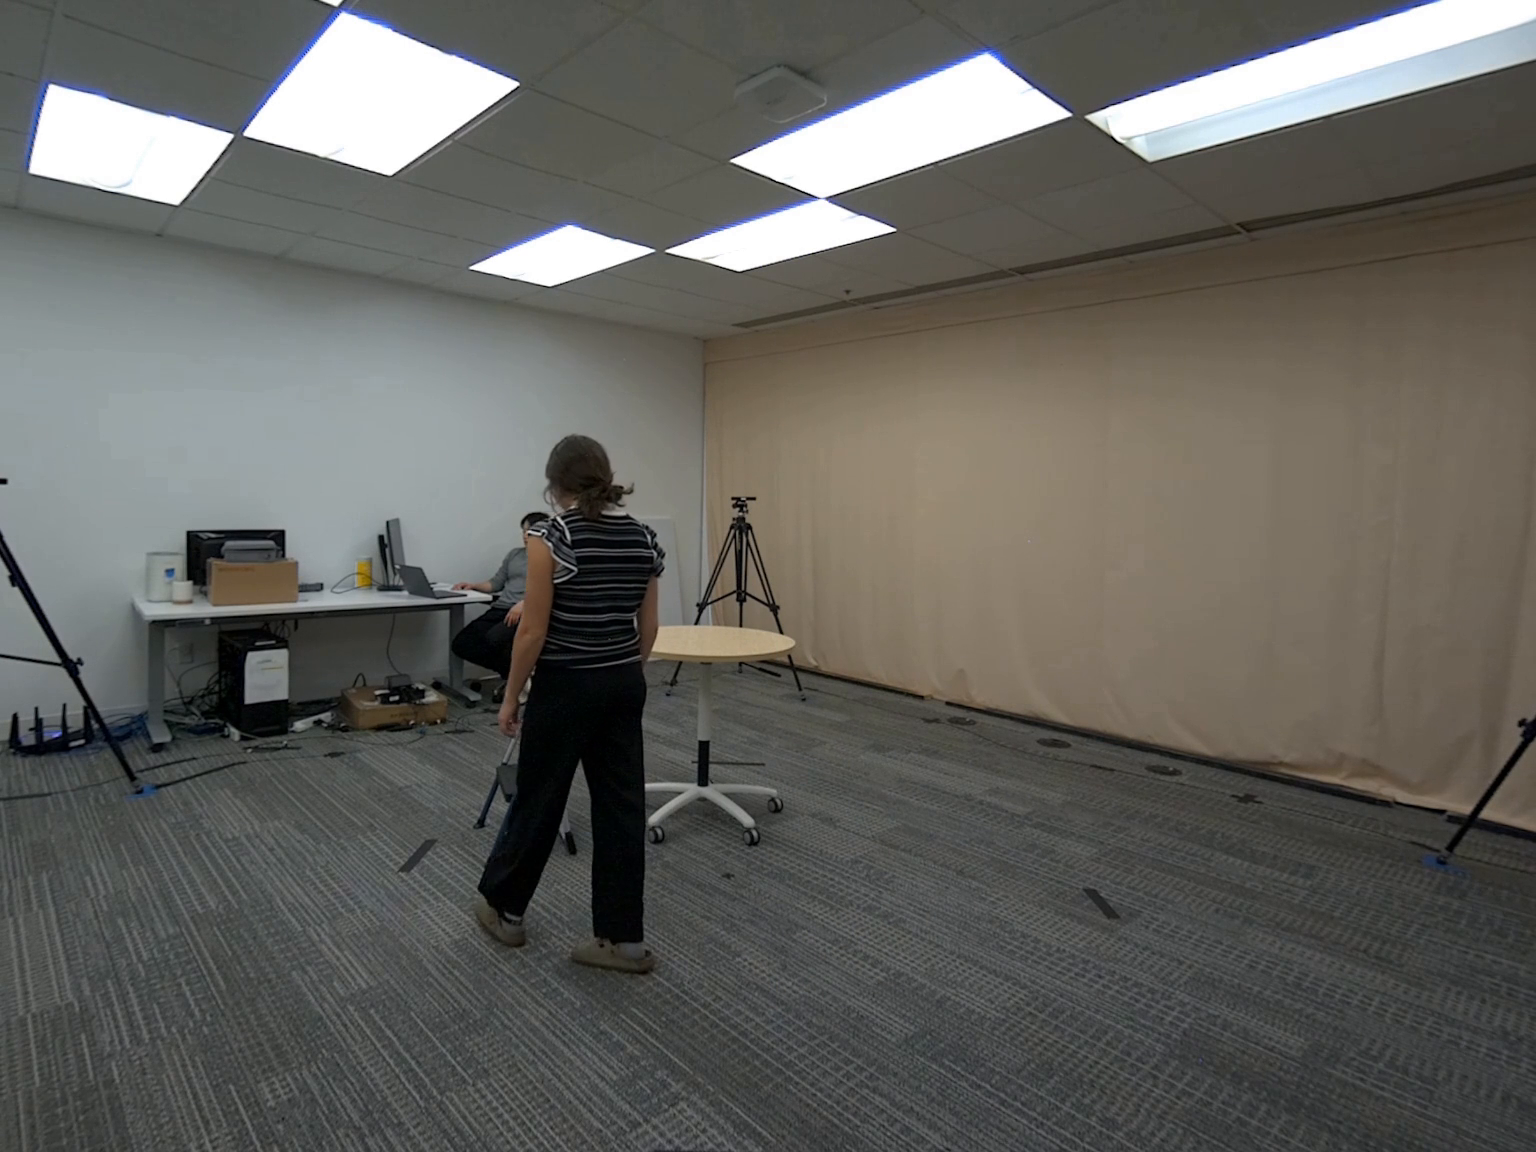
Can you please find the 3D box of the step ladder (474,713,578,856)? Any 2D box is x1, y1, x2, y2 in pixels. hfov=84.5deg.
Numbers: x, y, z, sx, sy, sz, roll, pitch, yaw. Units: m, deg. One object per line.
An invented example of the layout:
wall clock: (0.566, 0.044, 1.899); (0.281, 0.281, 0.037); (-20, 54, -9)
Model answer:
step ladder: (-0.980, 0.765, 3.363); (0.343, 0.604, 0.439); (0, 4, -24)
